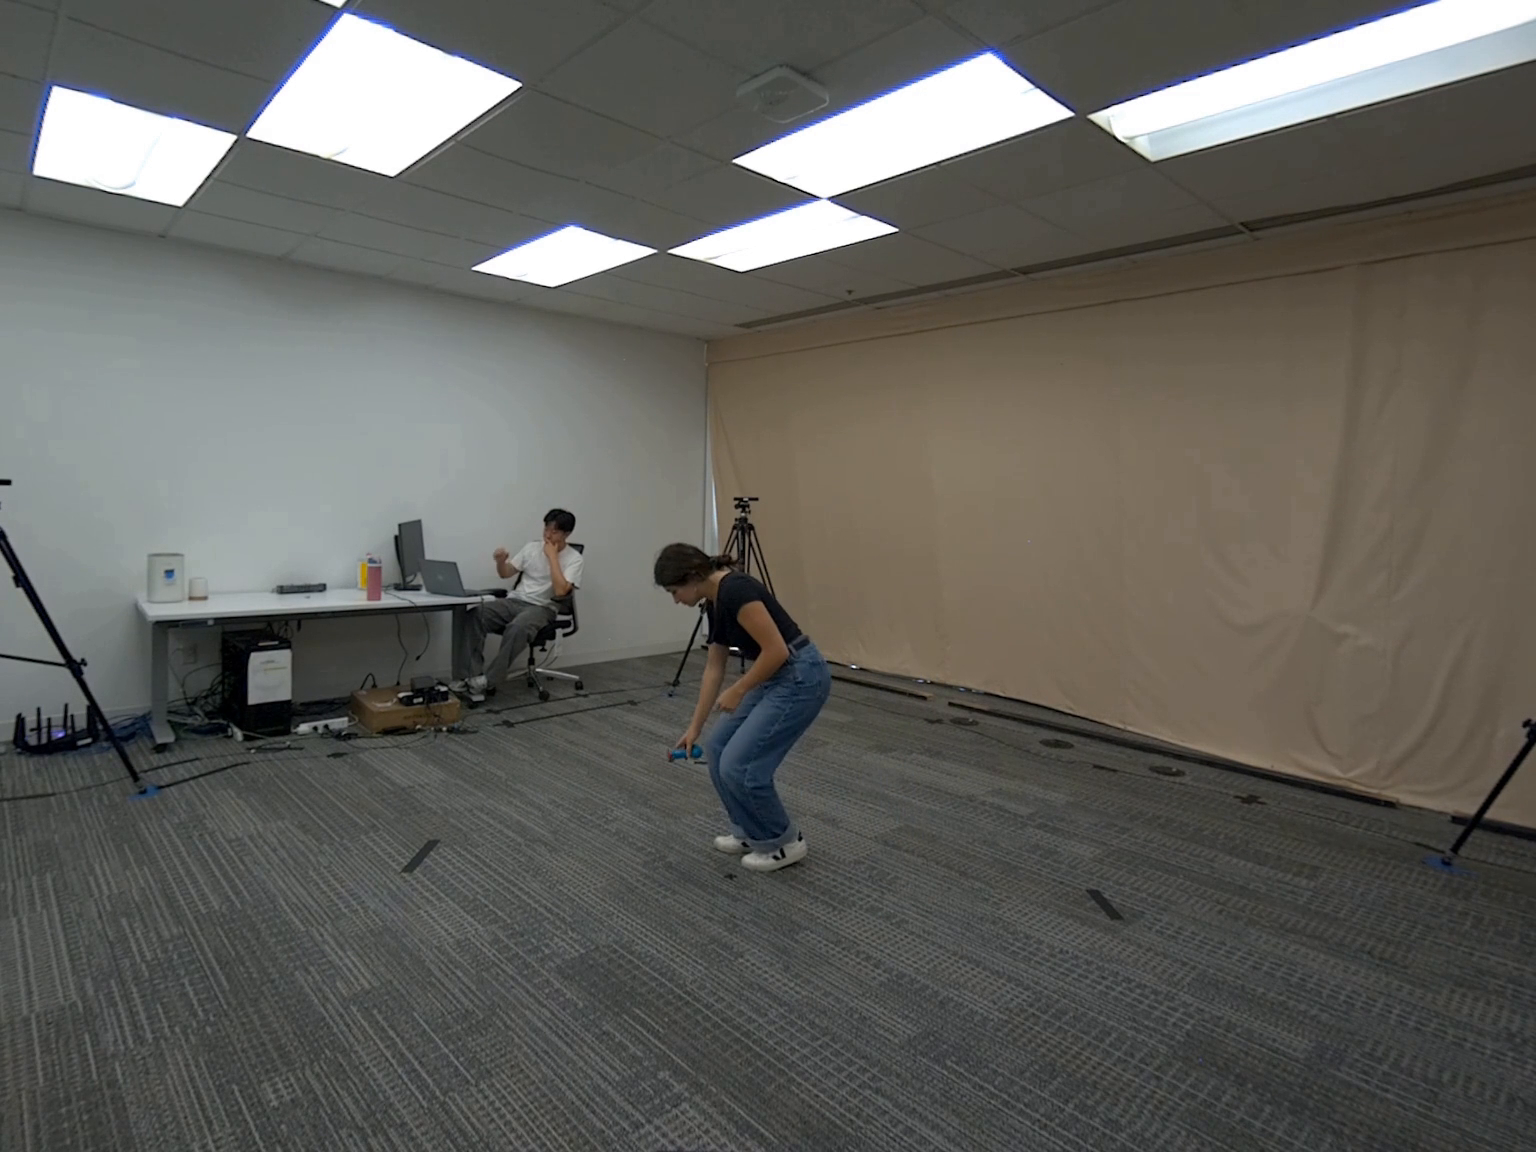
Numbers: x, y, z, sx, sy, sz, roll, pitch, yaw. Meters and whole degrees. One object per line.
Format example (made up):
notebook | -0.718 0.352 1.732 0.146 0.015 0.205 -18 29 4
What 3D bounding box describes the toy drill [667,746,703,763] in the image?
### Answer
toy drill | -0.339 0.711 3.414 0.145 0.061 0.171 -2 -2 -12
